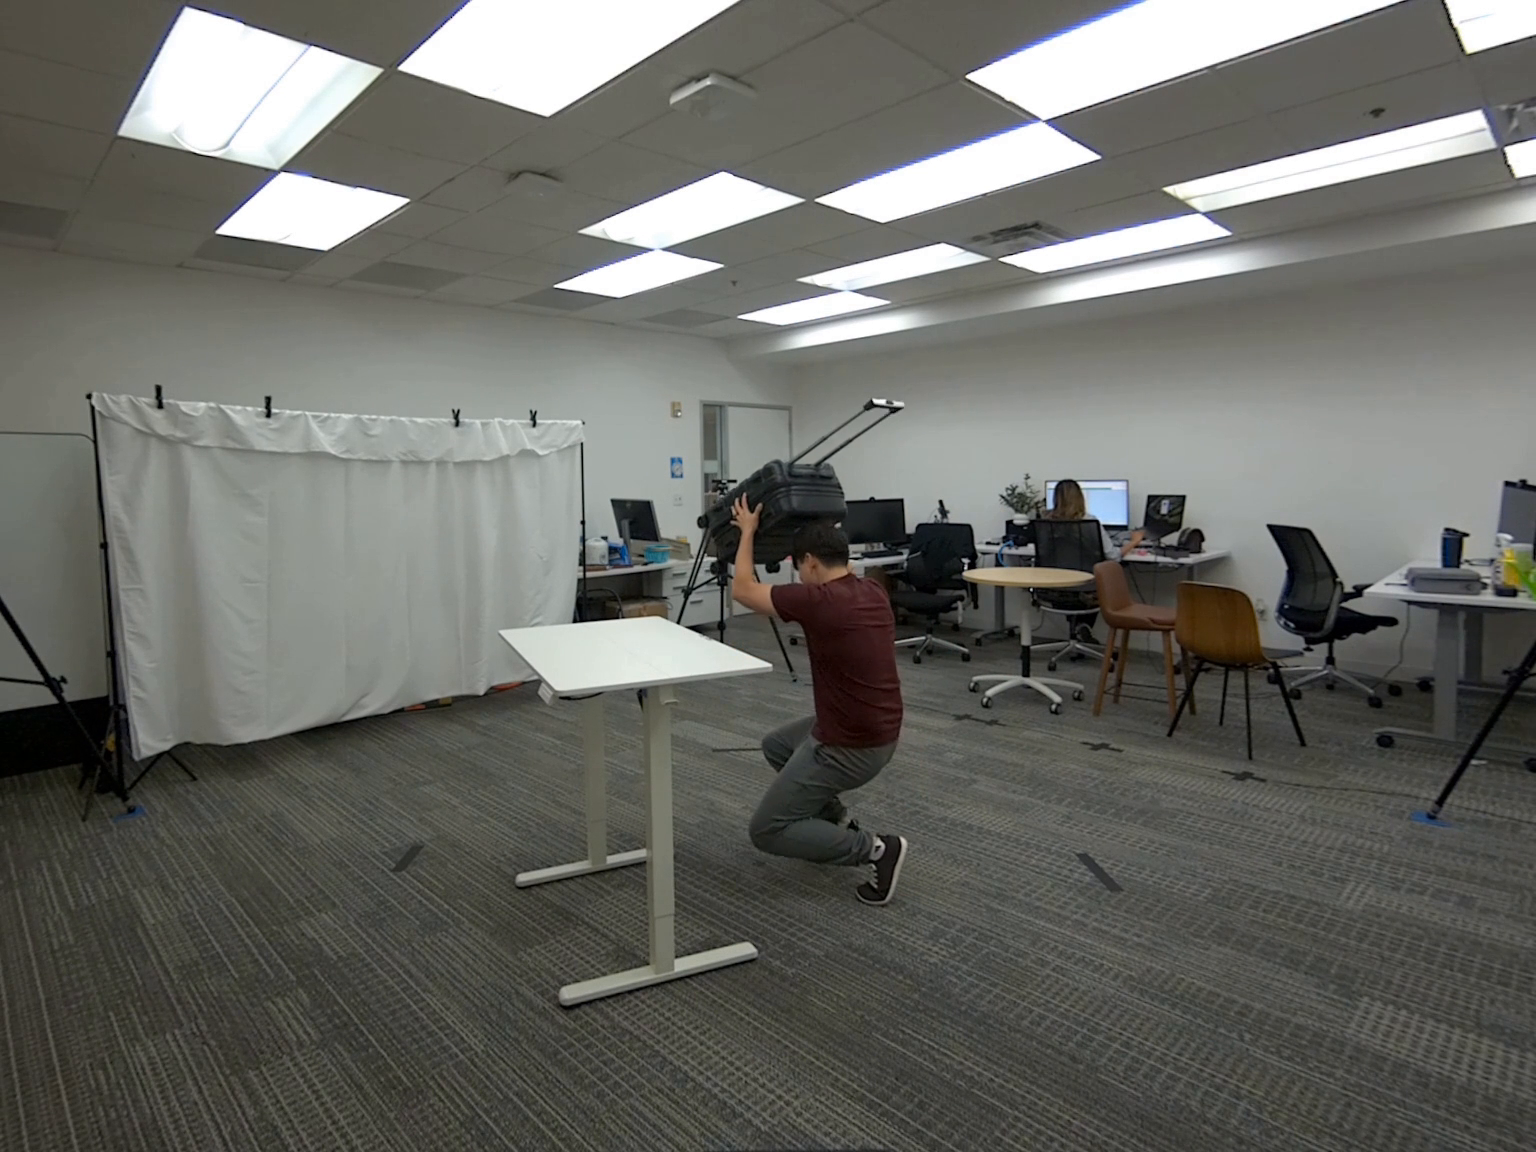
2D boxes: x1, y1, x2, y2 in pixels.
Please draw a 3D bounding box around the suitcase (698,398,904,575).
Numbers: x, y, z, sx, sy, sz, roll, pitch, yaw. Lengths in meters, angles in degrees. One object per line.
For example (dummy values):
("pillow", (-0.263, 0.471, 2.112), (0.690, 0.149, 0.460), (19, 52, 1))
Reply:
("suitcase", (0.147, -0.315, 3.243), (0.373, 0.262, 0.987), (-1, -20, -39))
